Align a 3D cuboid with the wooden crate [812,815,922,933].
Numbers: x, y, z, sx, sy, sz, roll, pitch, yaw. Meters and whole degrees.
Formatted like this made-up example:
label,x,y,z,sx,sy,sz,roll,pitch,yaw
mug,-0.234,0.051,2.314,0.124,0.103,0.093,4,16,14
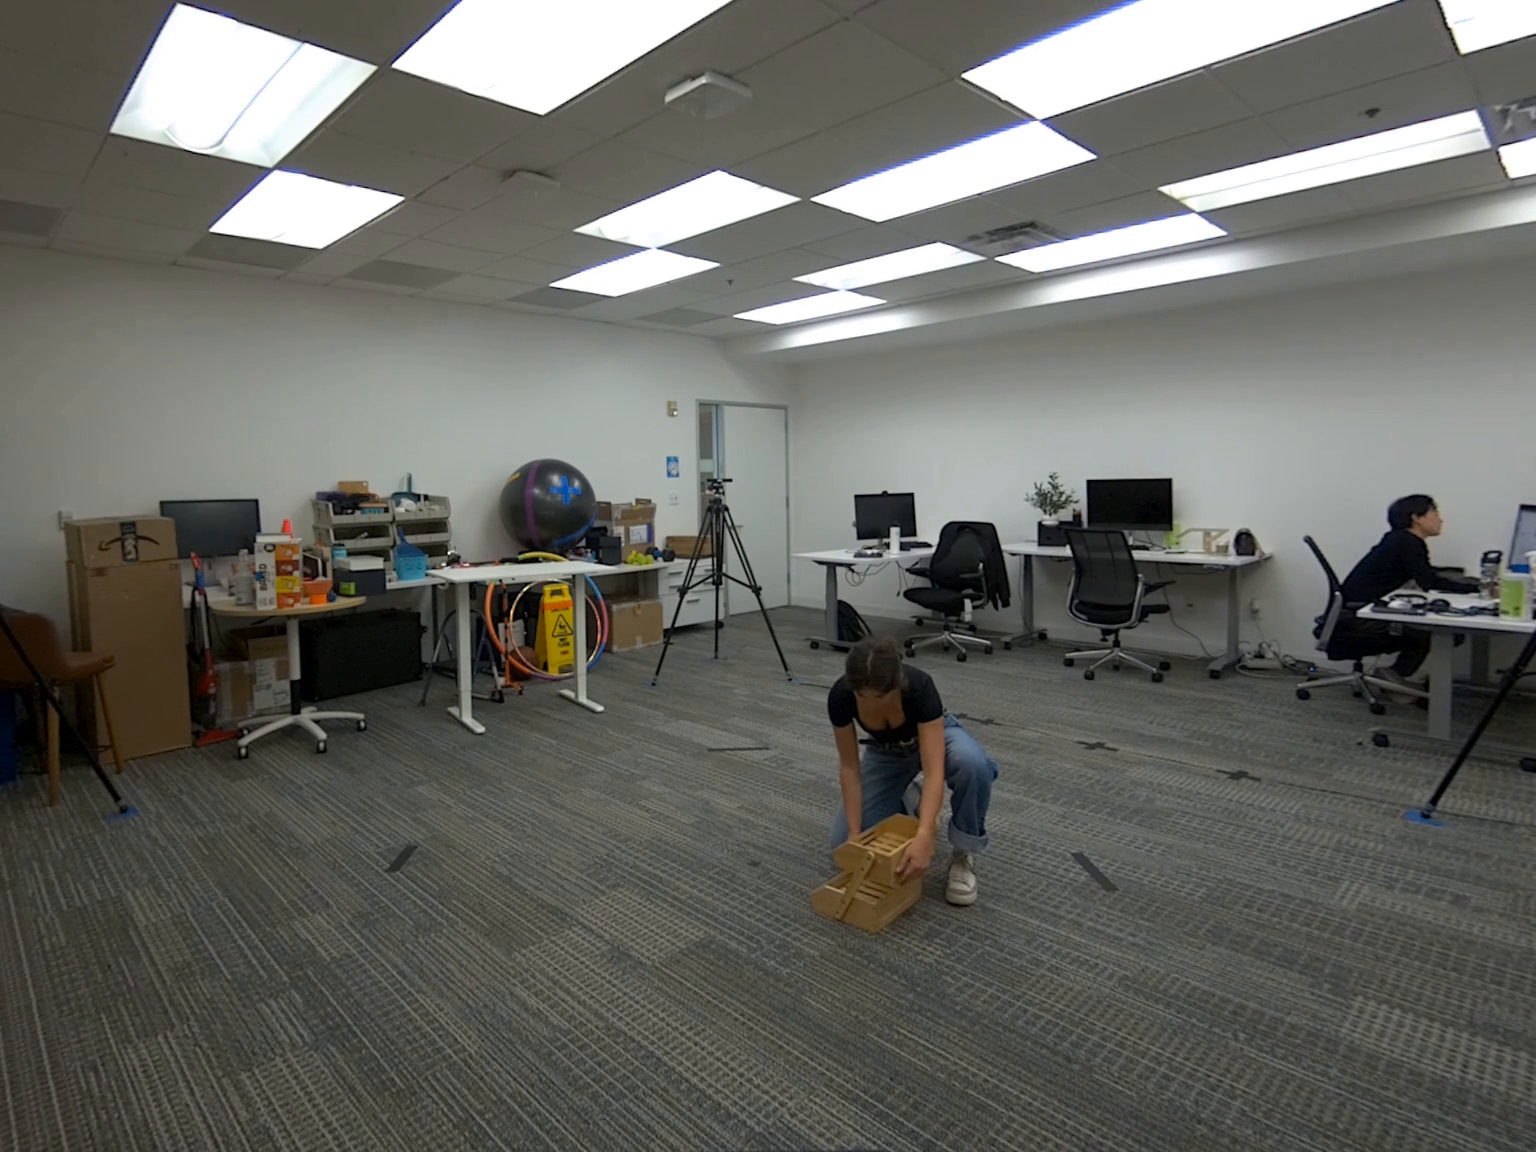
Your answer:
label,x,y,z,sx,sy,sz,roll,pitch,yaw
wooden crate,0.342,0.938,2.781,0.311,0.272,0.316,4,7,37
